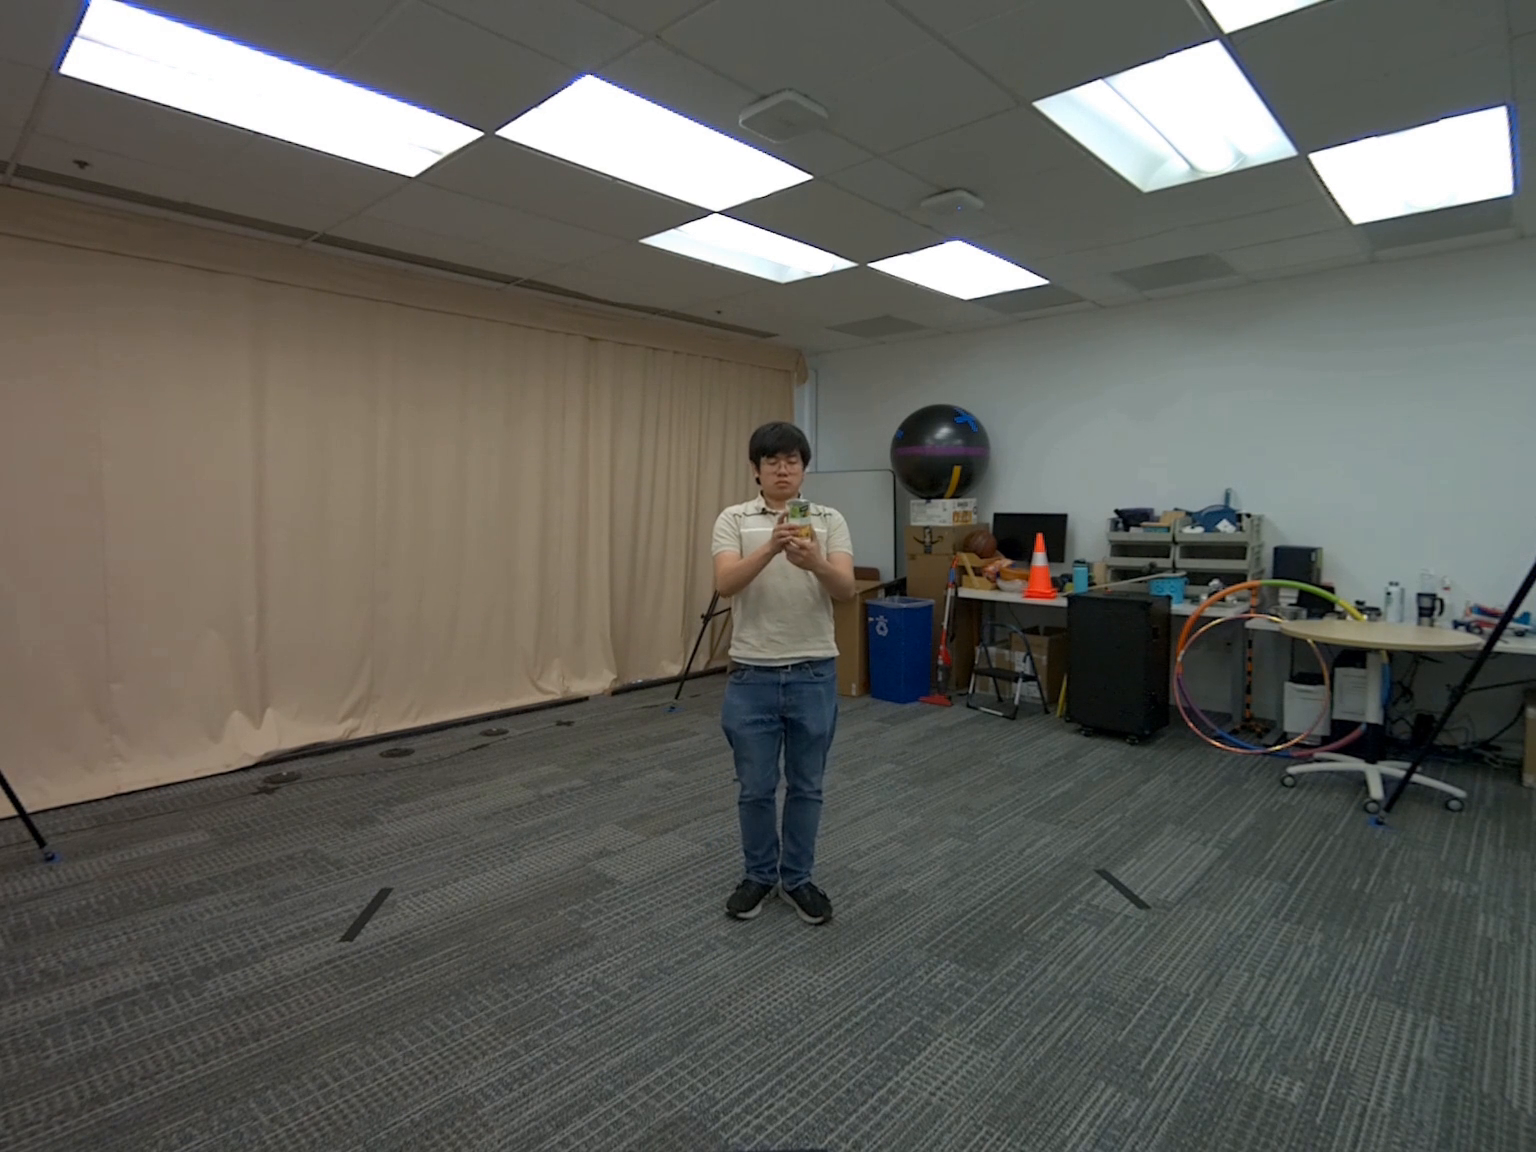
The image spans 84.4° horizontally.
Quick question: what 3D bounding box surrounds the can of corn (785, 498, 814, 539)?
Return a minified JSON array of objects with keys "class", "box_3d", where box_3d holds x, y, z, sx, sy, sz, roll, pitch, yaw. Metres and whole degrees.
[{"class":"can of corn","box_3d":[0.091,-0.170,2.563,0.074,0.110,0.075,-3,17,-1]}]
